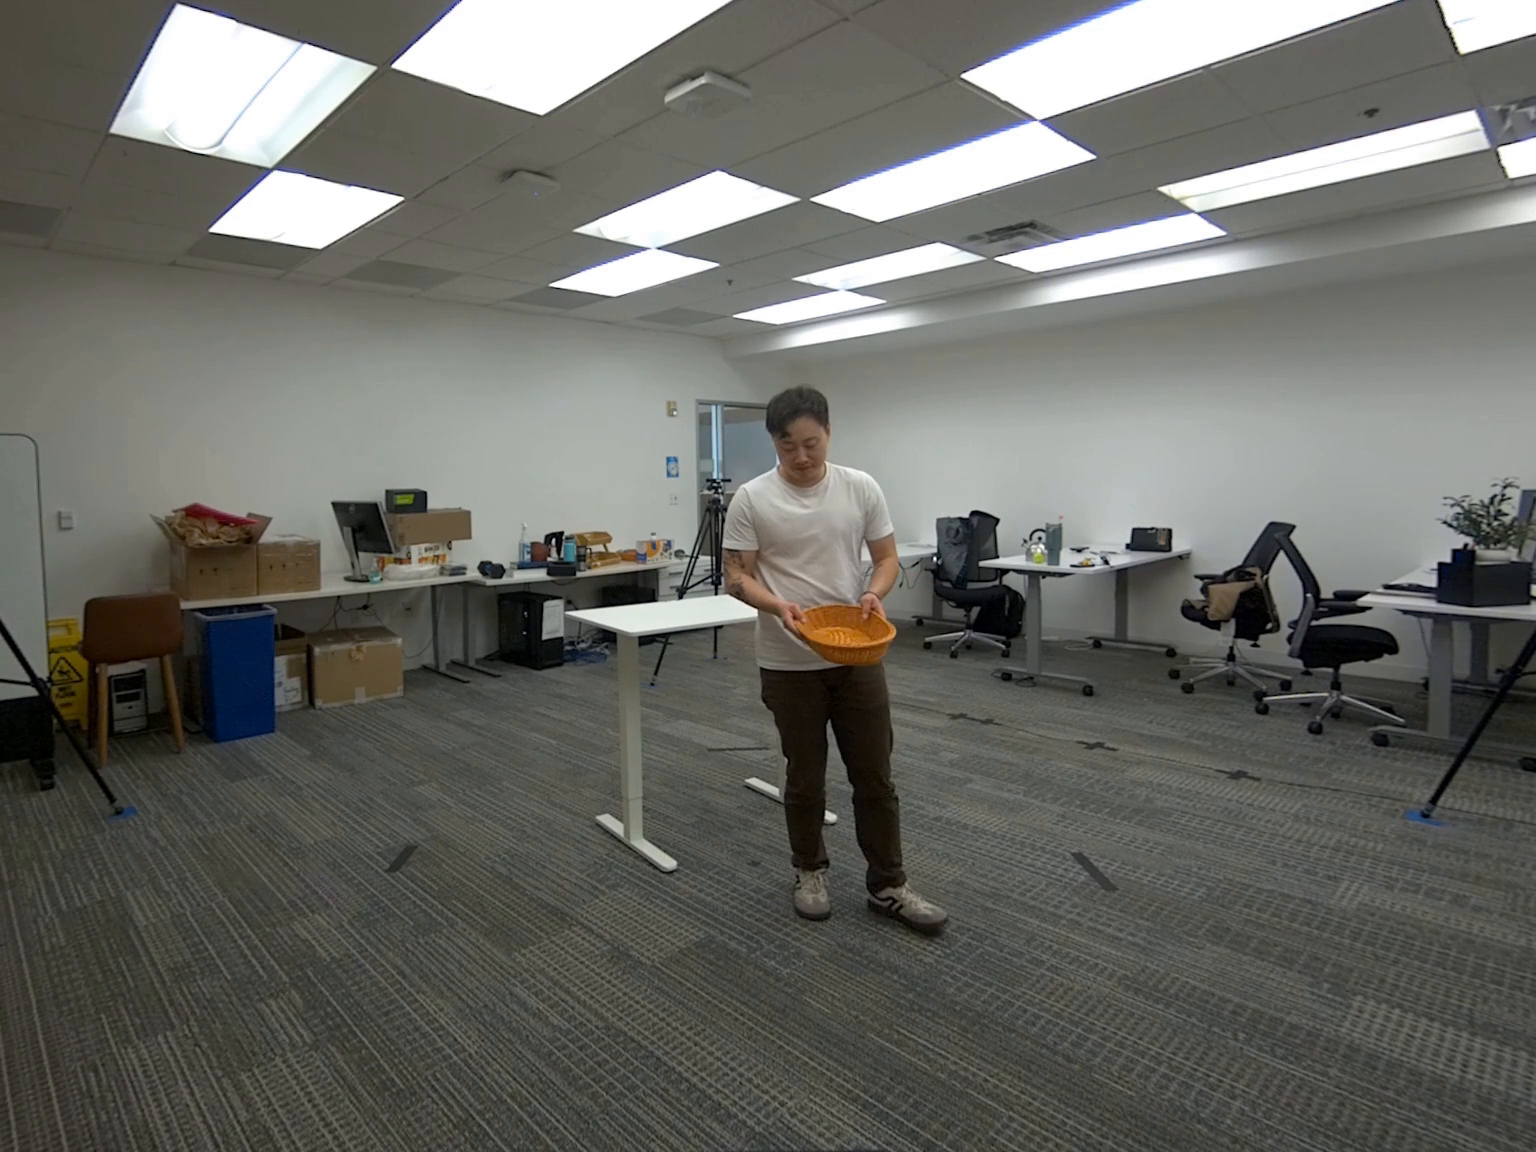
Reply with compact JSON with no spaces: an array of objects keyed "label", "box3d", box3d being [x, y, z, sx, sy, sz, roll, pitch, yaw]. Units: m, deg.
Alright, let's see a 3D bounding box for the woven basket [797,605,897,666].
[{"label":"woven basket","box3d":[0.211,0.173,2.363,0.252,0.072,0.355,-3,16,-2]}]
